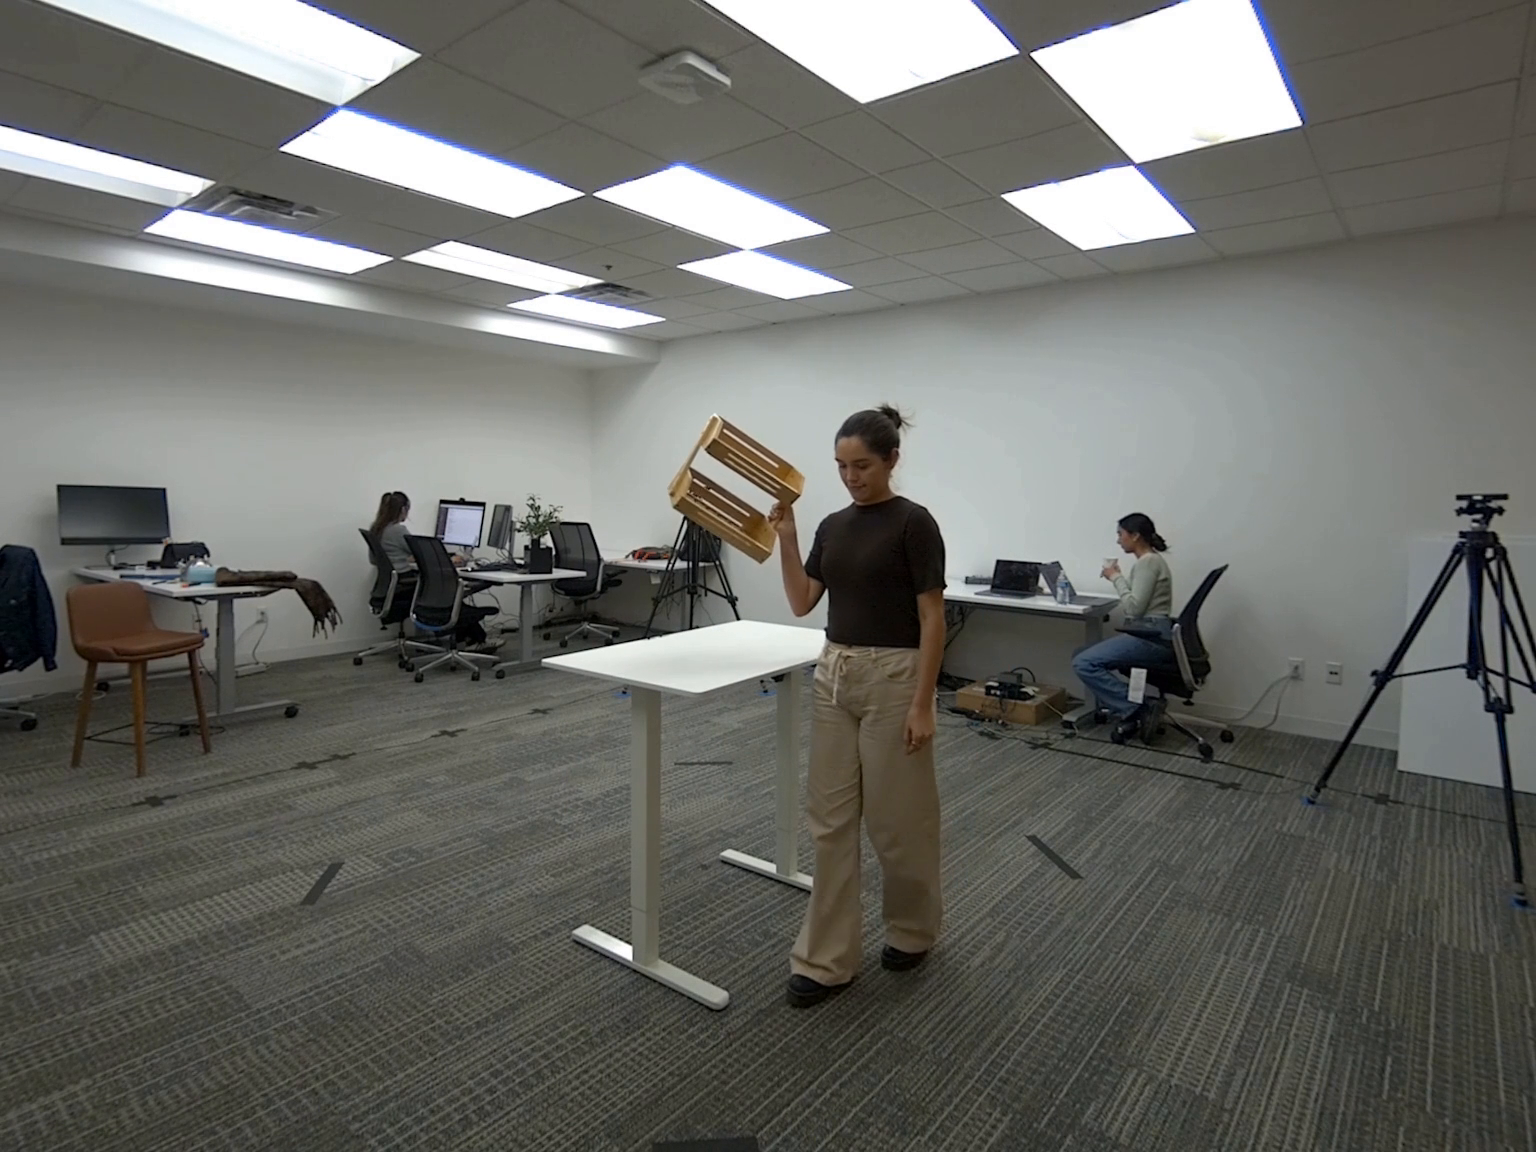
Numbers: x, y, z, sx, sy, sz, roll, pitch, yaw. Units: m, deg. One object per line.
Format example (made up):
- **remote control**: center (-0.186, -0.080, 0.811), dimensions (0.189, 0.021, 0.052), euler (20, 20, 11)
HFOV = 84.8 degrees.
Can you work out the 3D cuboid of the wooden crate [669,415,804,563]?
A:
- **wooden crate**: center (-0.088, -0.259, 2.438), dimensions (0.317, 0.273, 0.309), euler (32, 11, -17)
